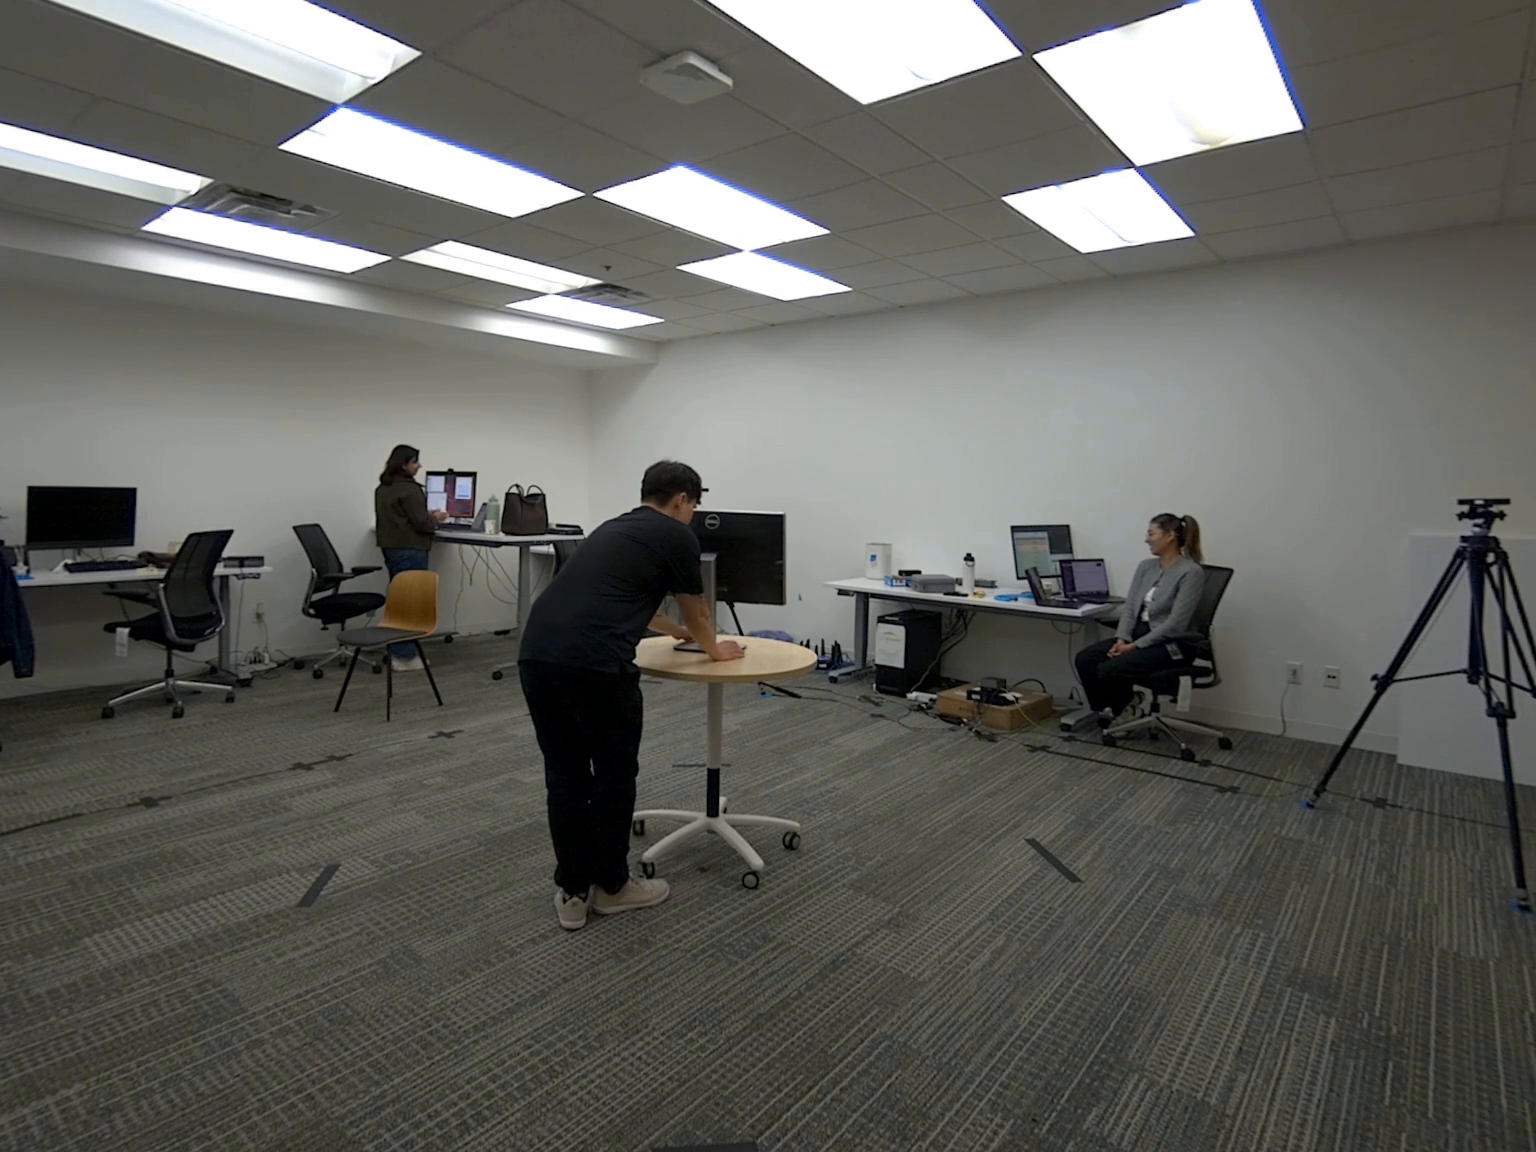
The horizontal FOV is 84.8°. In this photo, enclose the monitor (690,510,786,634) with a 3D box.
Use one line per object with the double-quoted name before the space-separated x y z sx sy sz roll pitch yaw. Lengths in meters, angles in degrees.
"monitor" -0.226 0.013 3.288 0.548 0.522 0.184 3 1 16
